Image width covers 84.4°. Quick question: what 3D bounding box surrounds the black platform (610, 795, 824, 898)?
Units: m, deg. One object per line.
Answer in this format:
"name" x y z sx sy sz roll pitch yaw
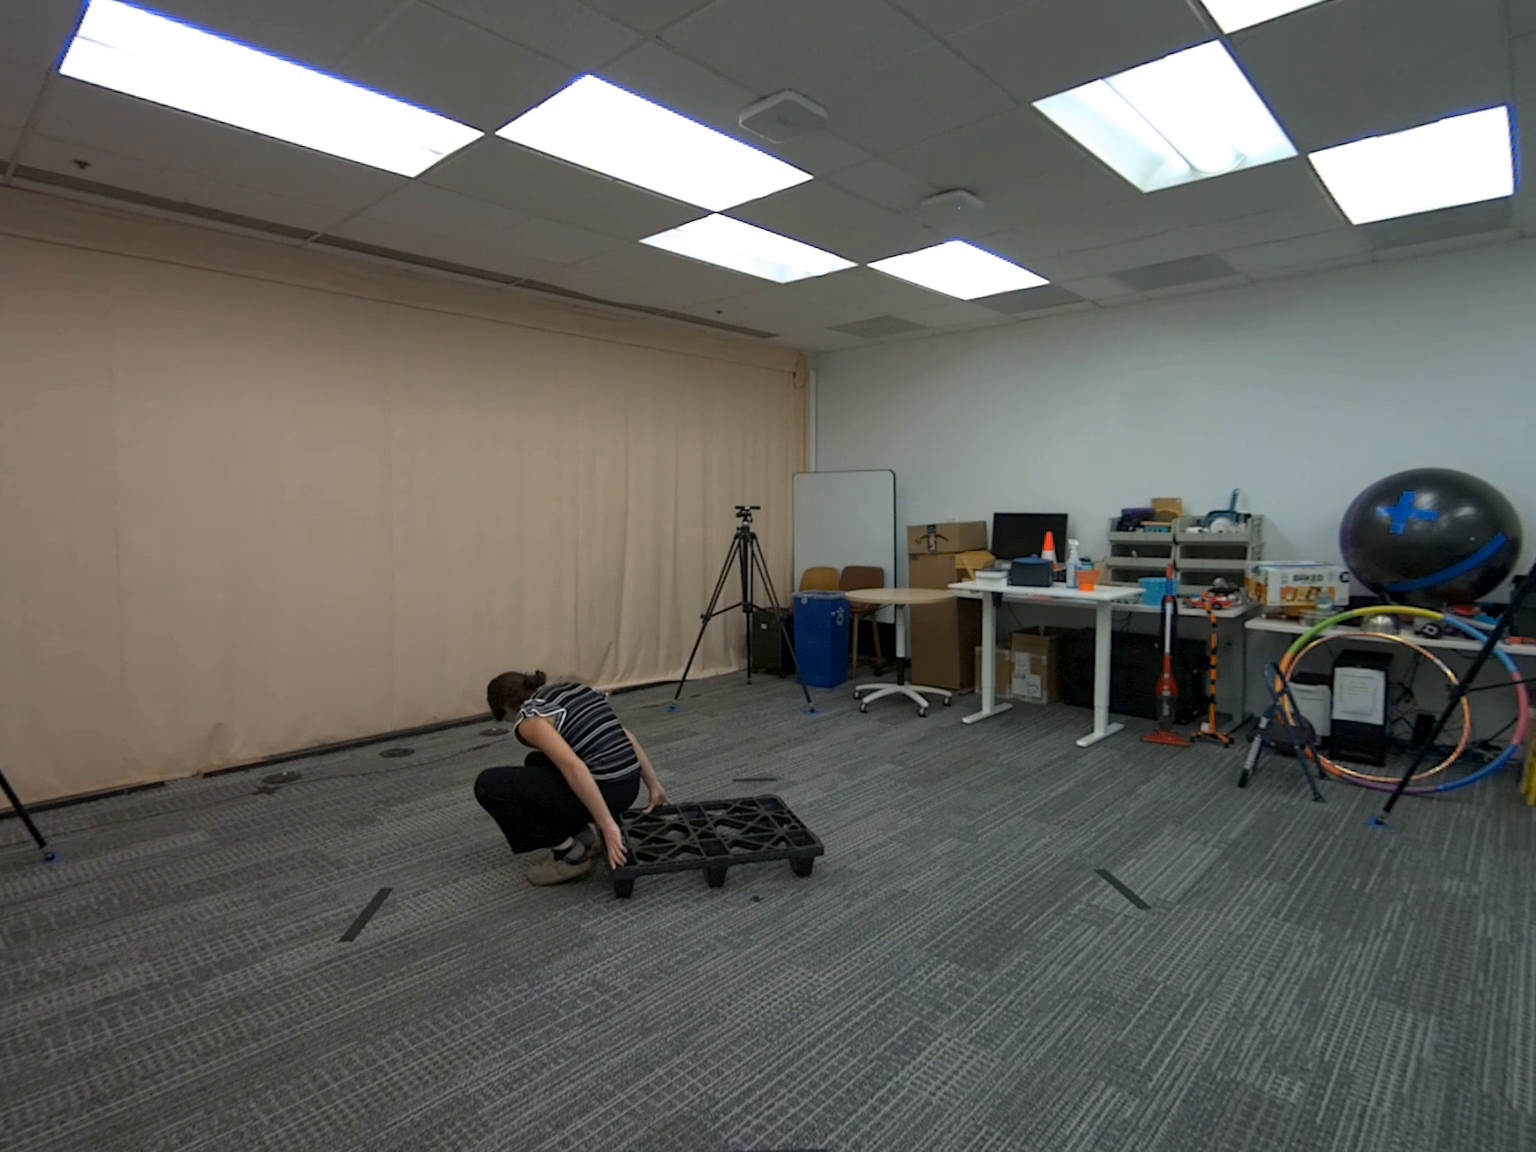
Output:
"black platform" -0.256 1.051 3.294 0.794 0.143 0.615 -2 4 -15
